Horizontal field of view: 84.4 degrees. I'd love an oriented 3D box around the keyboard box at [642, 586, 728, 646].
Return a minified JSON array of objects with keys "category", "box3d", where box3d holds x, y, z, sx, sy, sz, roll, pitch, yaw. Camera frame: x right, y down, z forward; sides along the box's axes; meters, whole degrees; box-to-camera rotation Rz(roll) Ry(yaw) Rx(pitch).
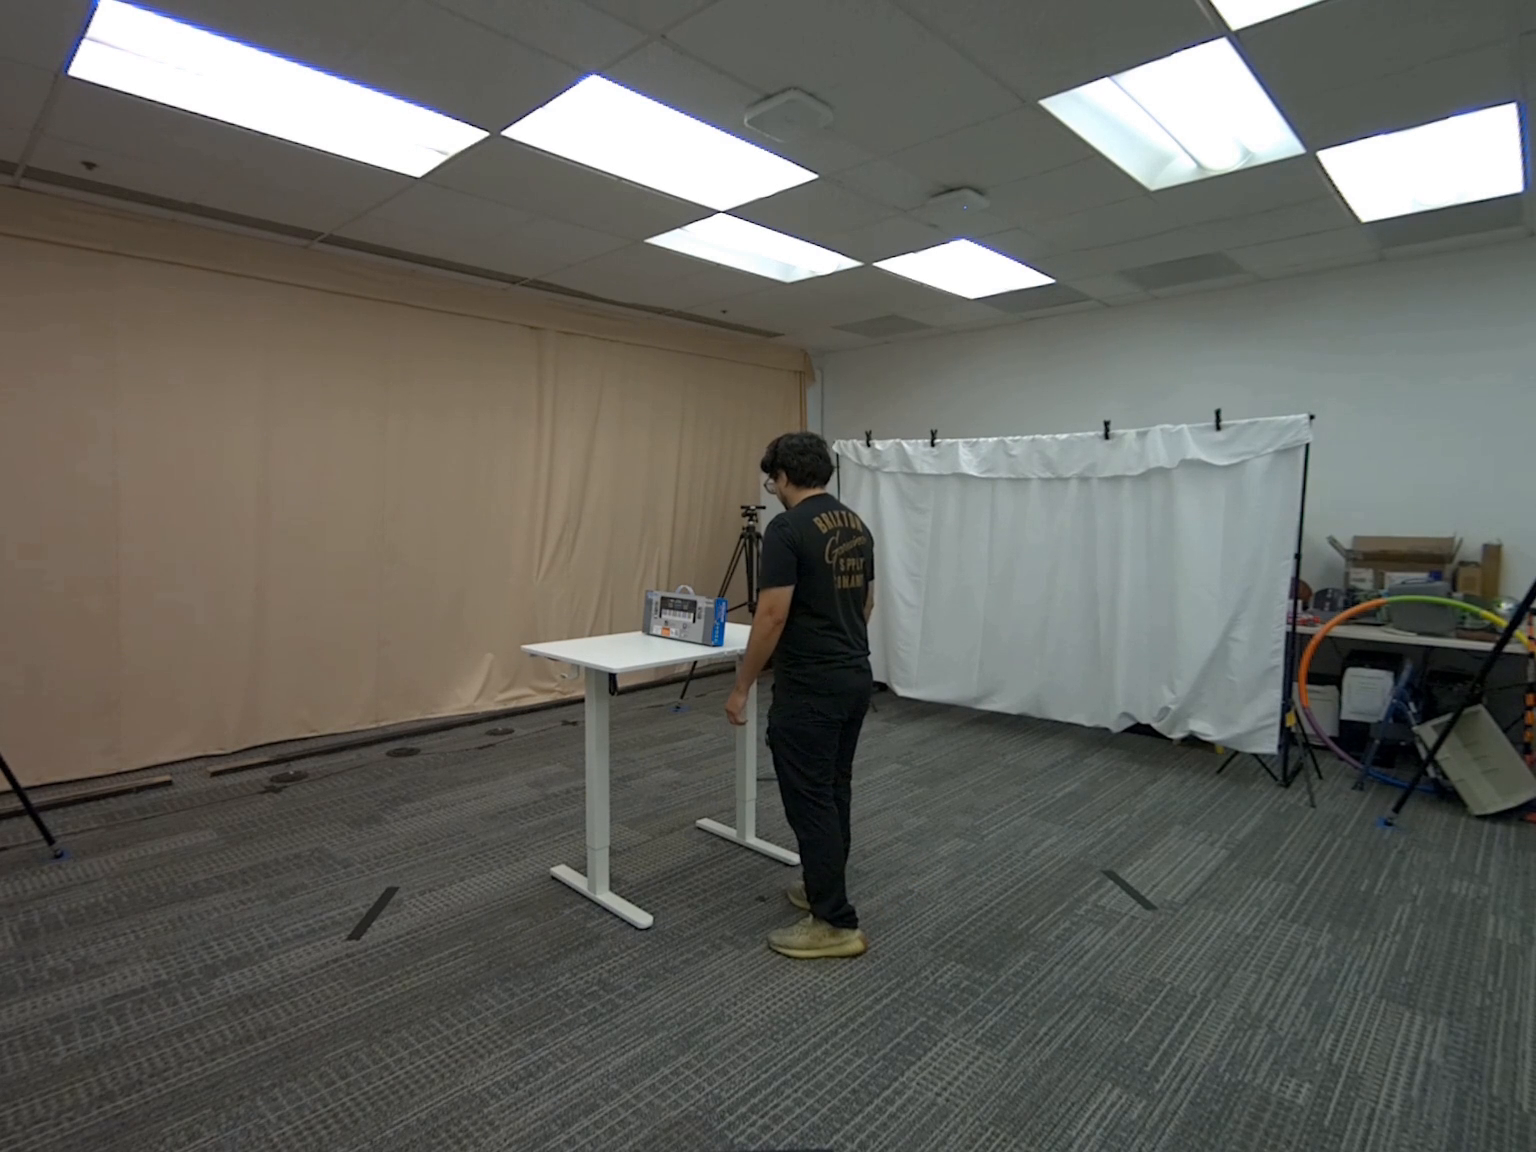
[{"category":"keyboard box","box3d":[-0.323,0.157,3.215,0.057,0.176,0.451,7,-2,-43]}]
